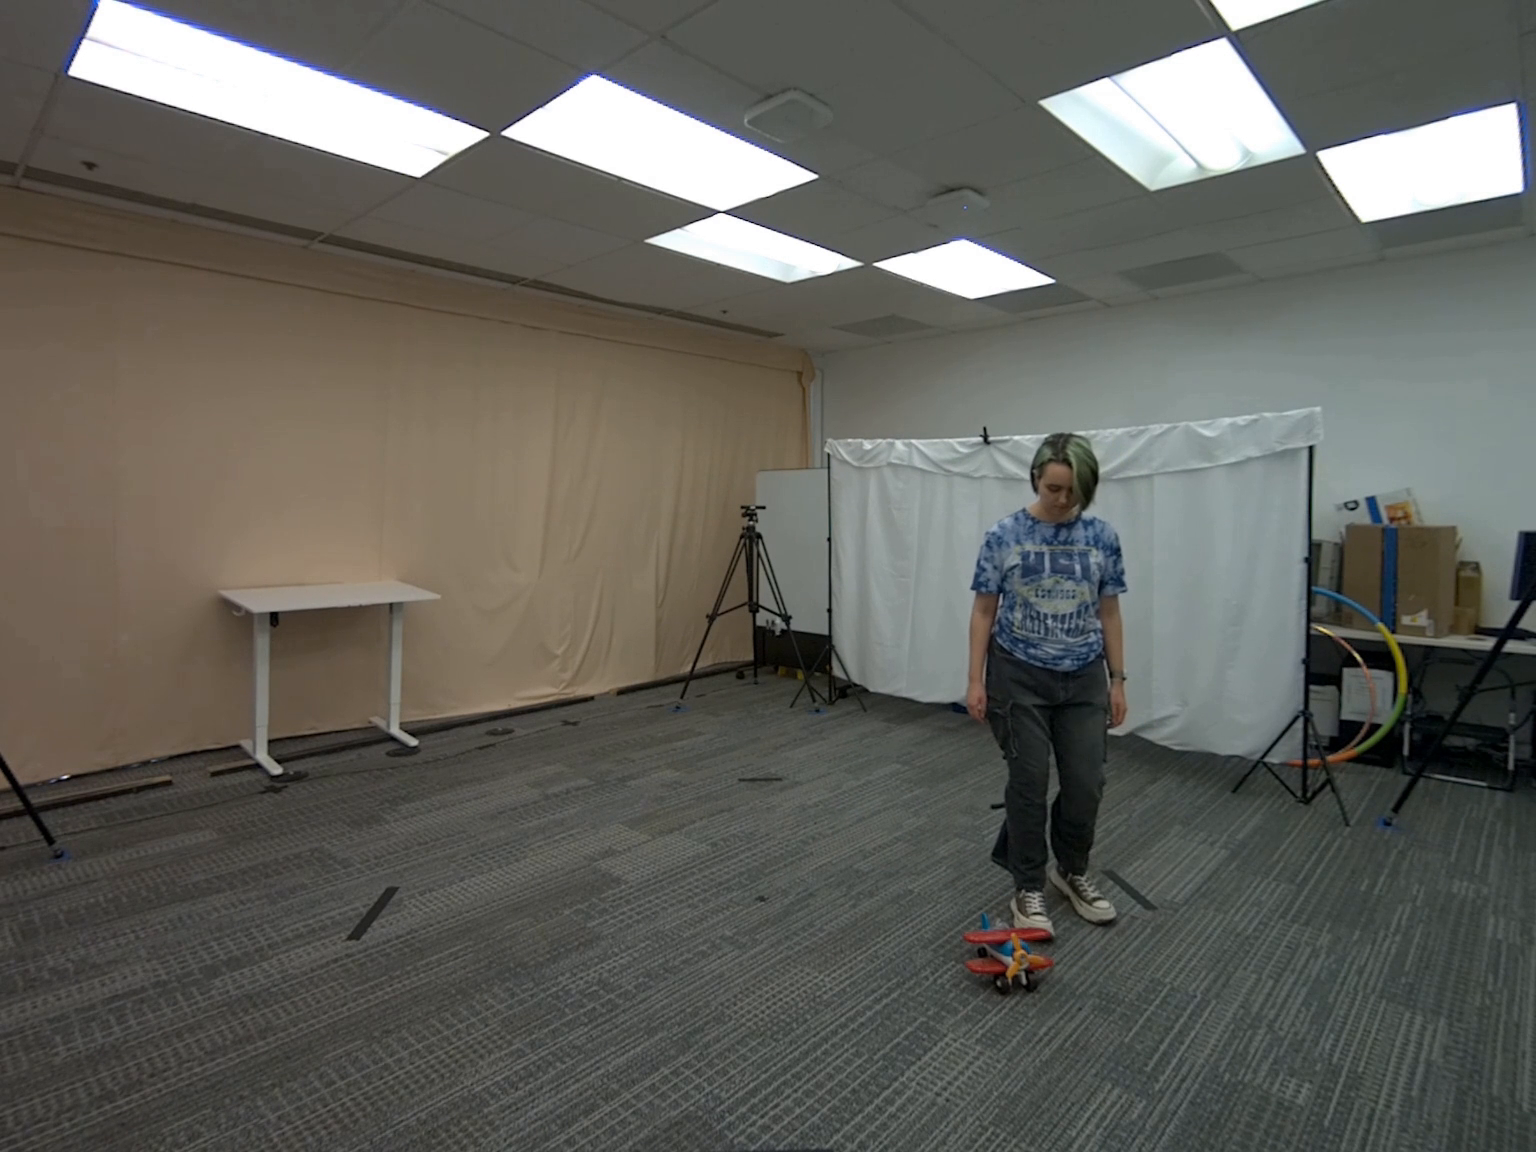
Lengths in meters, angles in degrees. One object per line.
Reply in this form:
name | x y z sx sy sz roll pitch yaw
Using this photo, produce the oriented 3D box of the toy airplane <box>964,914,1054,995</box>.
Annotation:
toy airplane | 0.681 1.109 2.486 0.244 0.156 0.268 -4 6 -37
